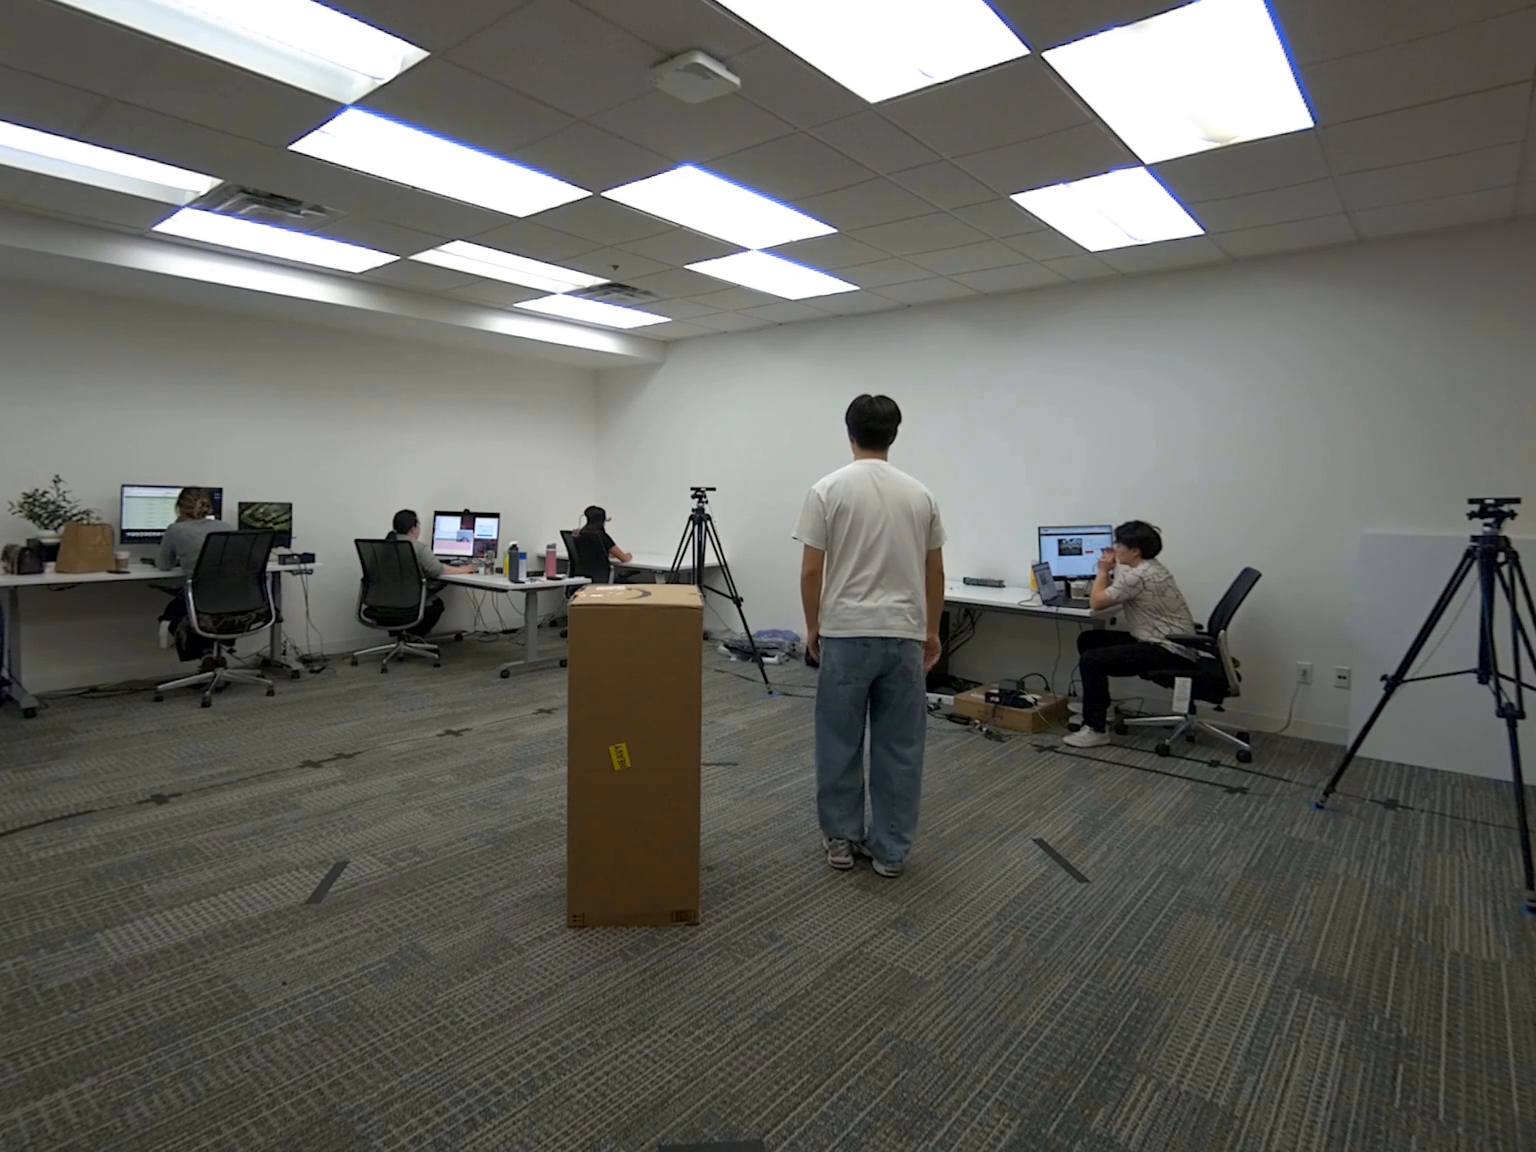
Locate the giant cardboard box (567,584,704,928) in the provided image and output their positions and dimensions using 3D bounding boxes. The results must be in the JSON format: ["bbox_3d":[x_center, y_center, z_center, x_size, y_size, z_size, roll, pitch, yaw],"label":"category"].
[{"bbox_3d":[-0.469,0.572,2.938,0.423,1.023,0.583,0,3,-7],"label":"giant cardboard box"}]
